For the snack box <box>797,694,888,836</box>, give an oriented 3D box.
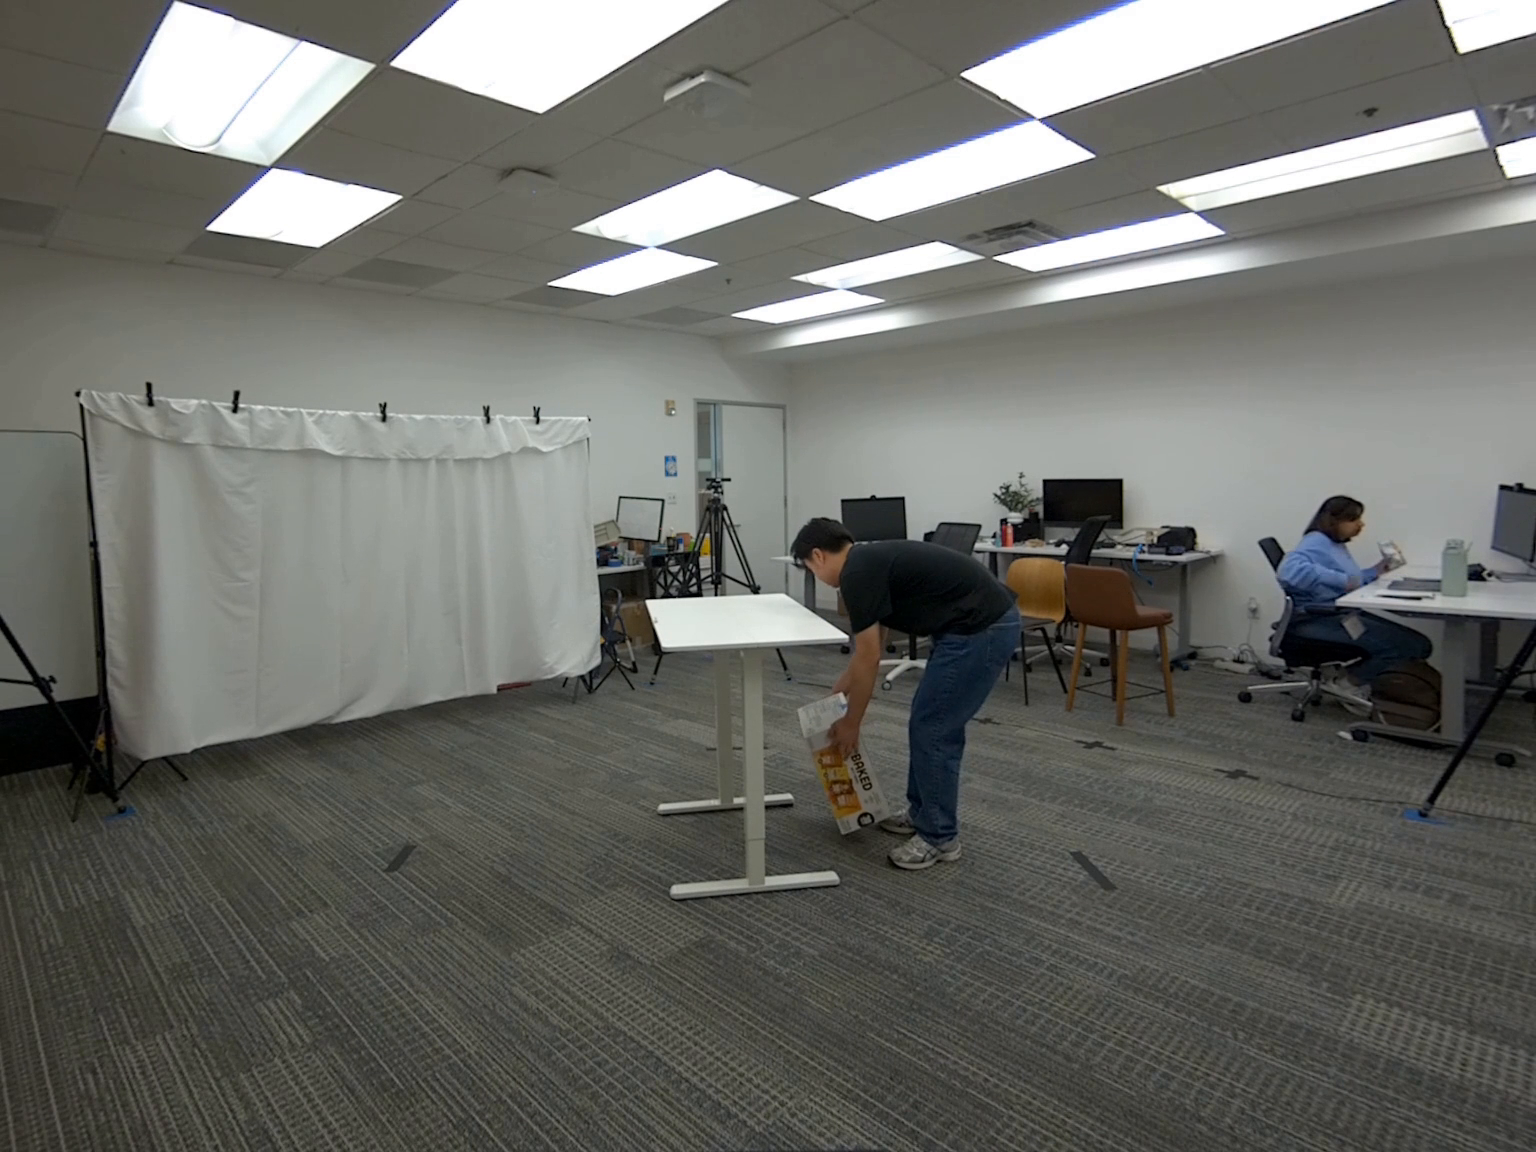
[{"bbox_3d":[0.292,0.722,3.343,0.206,0.402,0.343,-22,8,2],"label":"snack box"}]
